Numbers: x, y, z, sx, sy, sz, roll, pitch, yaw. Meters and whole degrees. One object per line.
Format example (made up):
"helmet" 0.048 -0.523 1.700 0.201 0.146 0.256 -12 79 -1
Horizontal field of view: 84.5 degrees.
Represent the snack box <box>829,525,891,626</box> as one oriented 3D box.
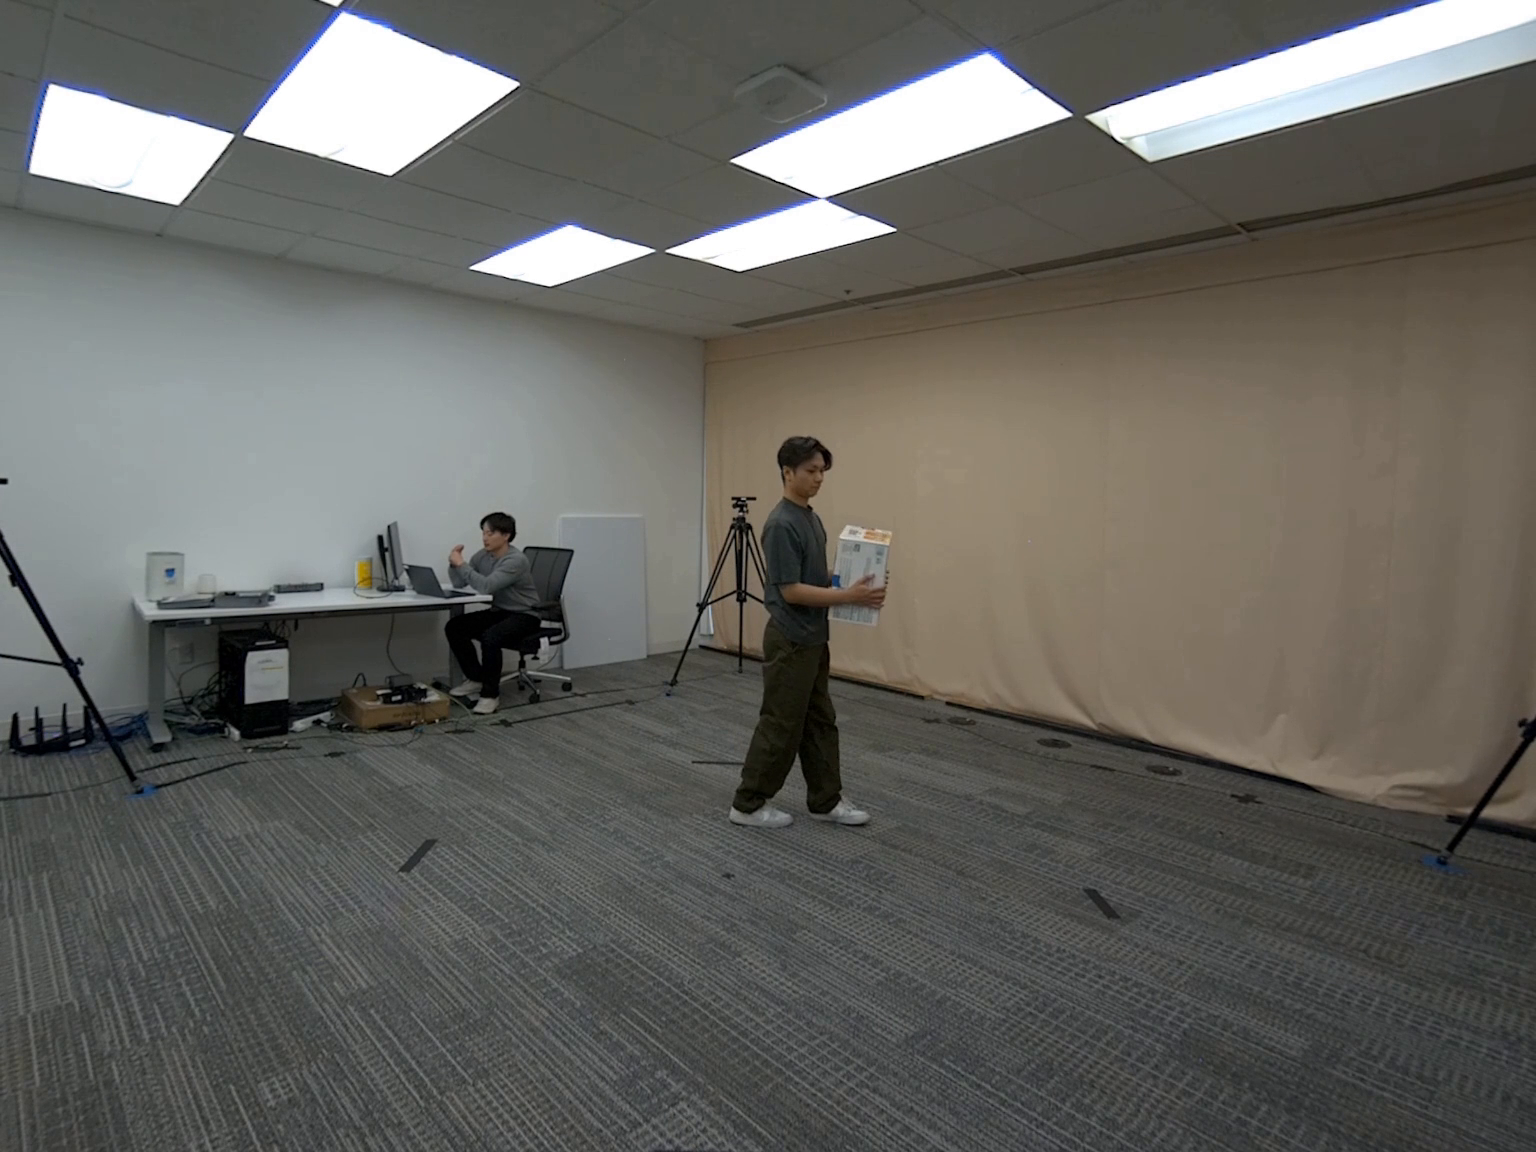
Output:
"snack box" 0.385 -0.018 3.548 0.207 0.338 0.404 7 11 9
